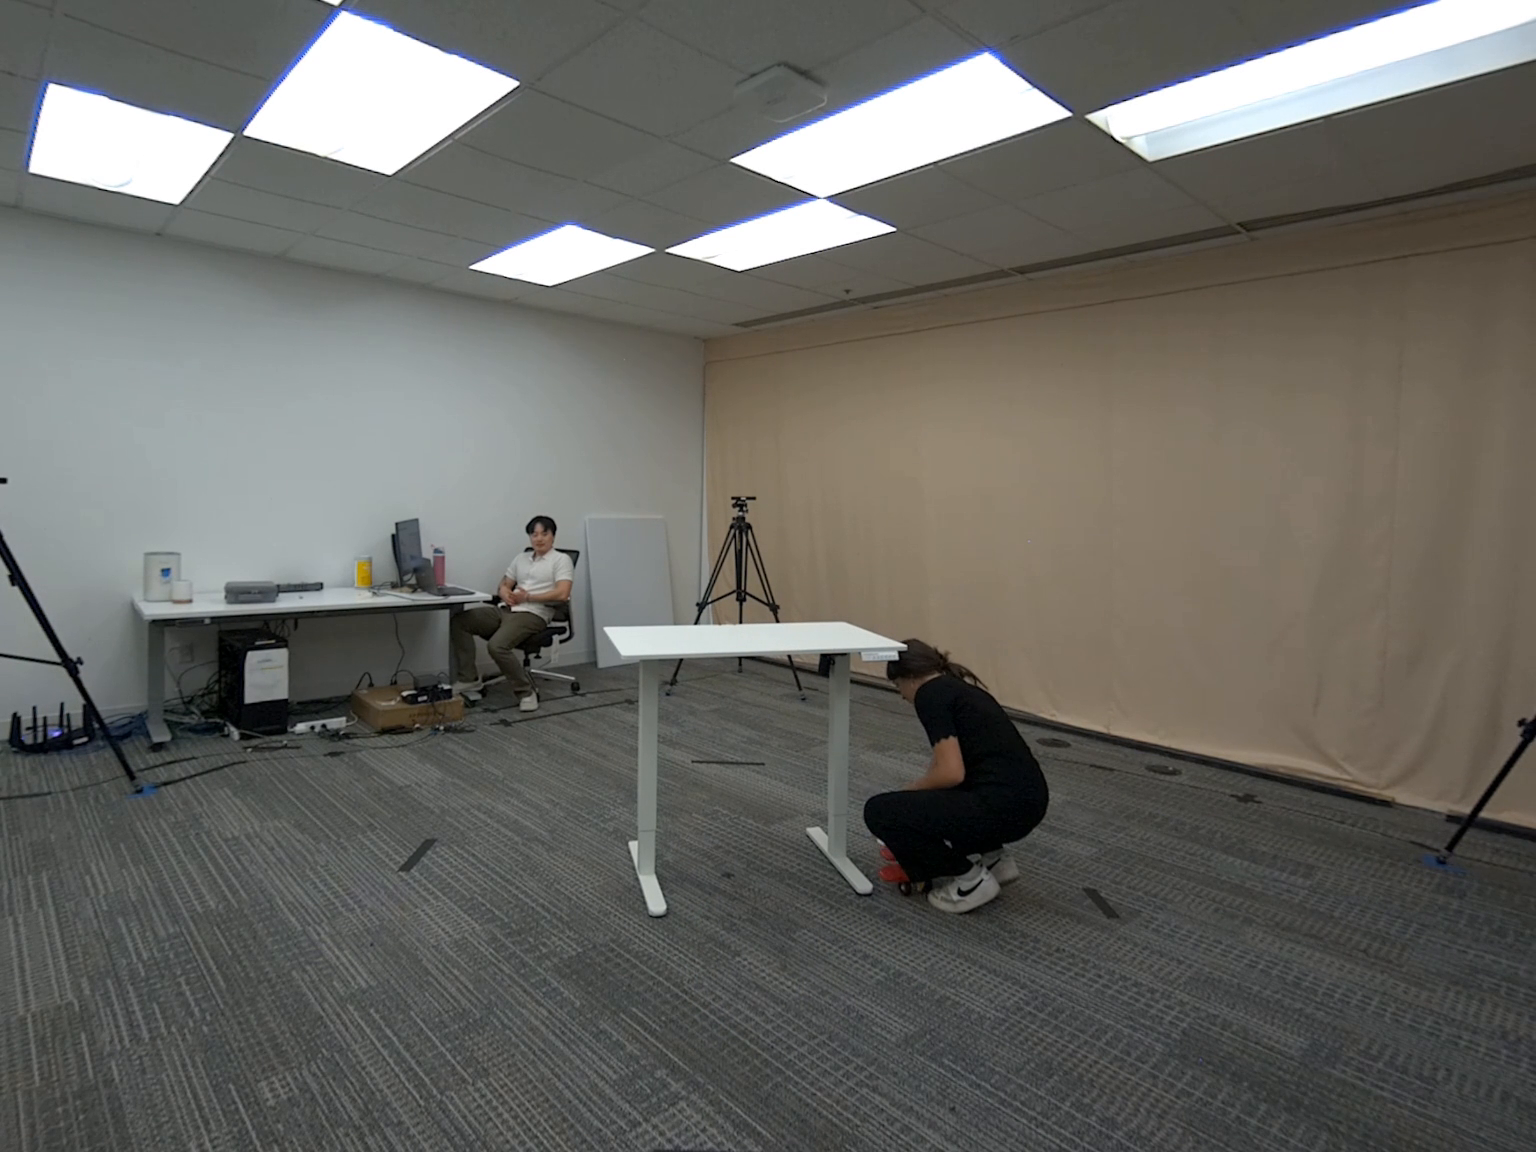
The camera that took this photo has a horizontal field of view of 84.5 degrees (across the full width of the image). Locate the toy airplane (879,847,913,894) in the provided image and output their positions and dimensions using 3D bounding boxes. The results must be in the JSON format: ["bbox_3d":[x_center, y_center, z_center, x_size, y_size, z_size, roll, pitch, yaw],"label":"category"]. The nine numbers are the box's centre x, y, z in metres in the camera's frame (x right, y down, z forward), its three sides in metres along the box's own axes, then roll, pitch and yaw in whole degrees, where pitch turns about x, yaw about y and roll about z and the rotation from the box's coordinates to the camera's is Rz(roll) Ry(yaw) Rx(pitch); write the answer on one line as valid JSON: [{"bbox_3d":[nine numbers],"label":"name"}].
[{"bbox_3d":[0.463,1.016,3.047,0.246,0.154,0.267,-12,32,-41],"label":"toy airplane"}]
